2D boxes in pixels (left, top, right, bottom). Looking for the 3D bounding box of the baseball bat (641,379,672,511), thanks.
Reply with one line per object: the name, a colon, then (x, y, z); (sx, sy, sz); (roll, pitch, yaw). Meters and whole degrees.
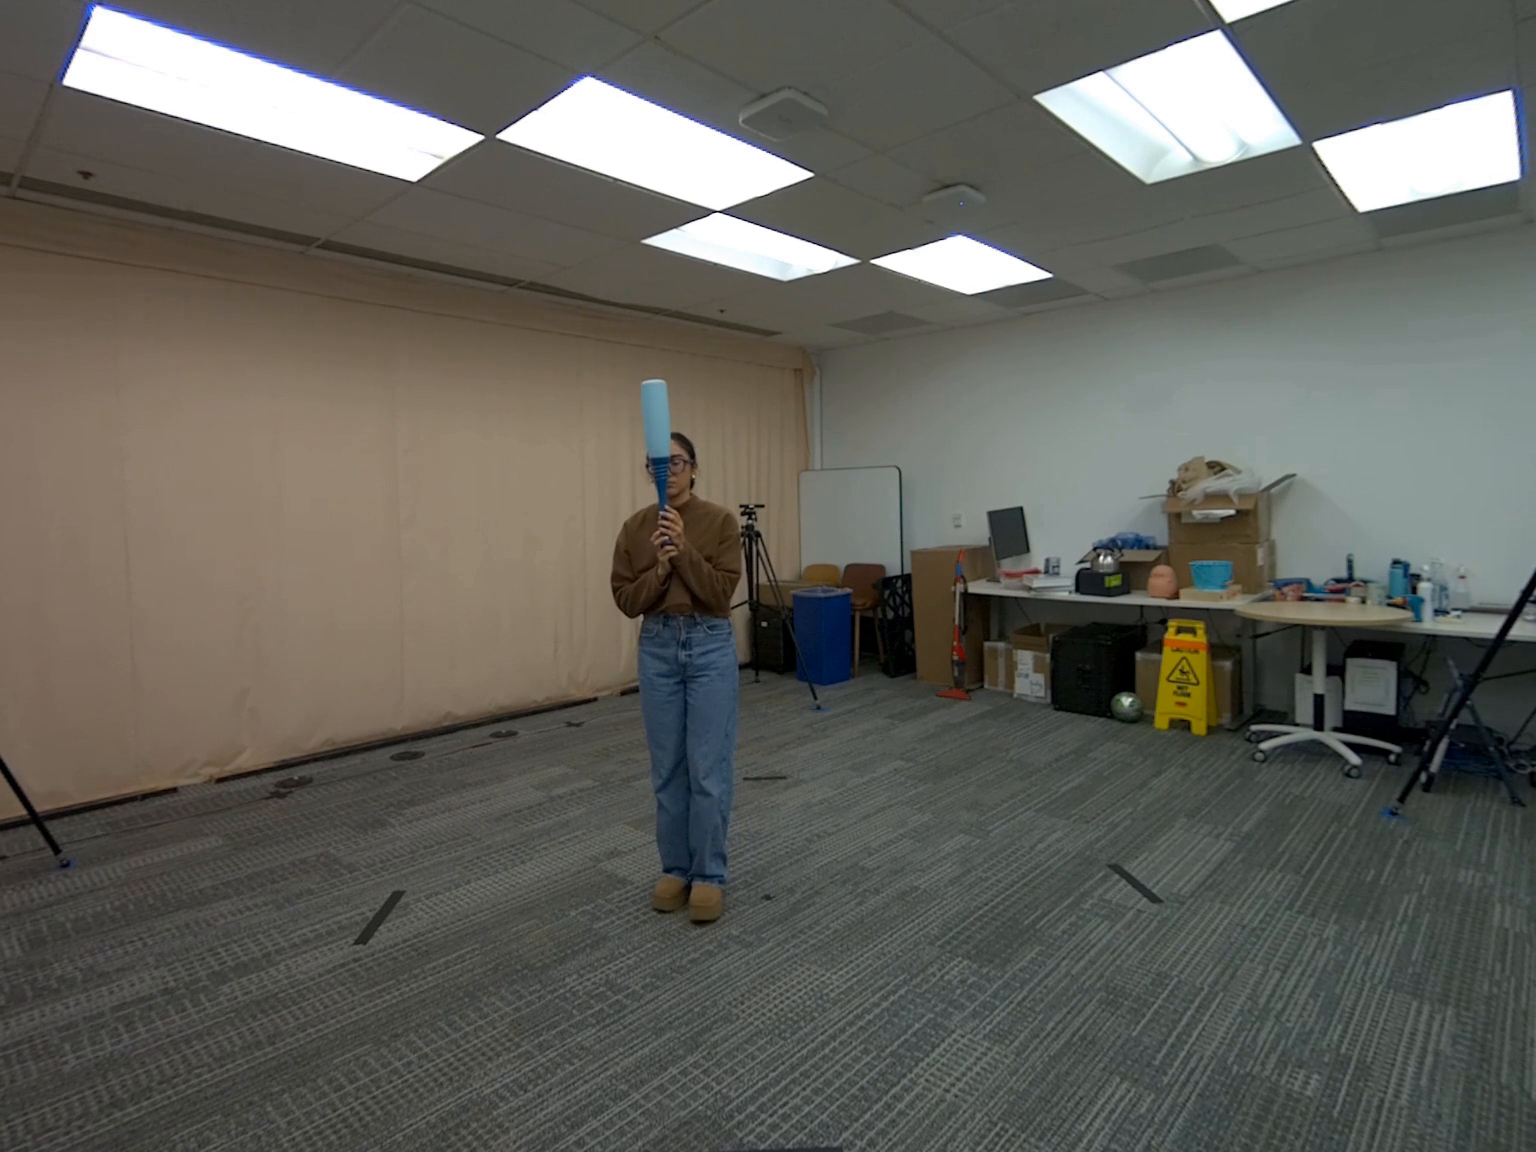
baseball bat: (-0.351, -0.364, 2.753); (0.089, 0.541, 0.089); (-2, 4, -2)
